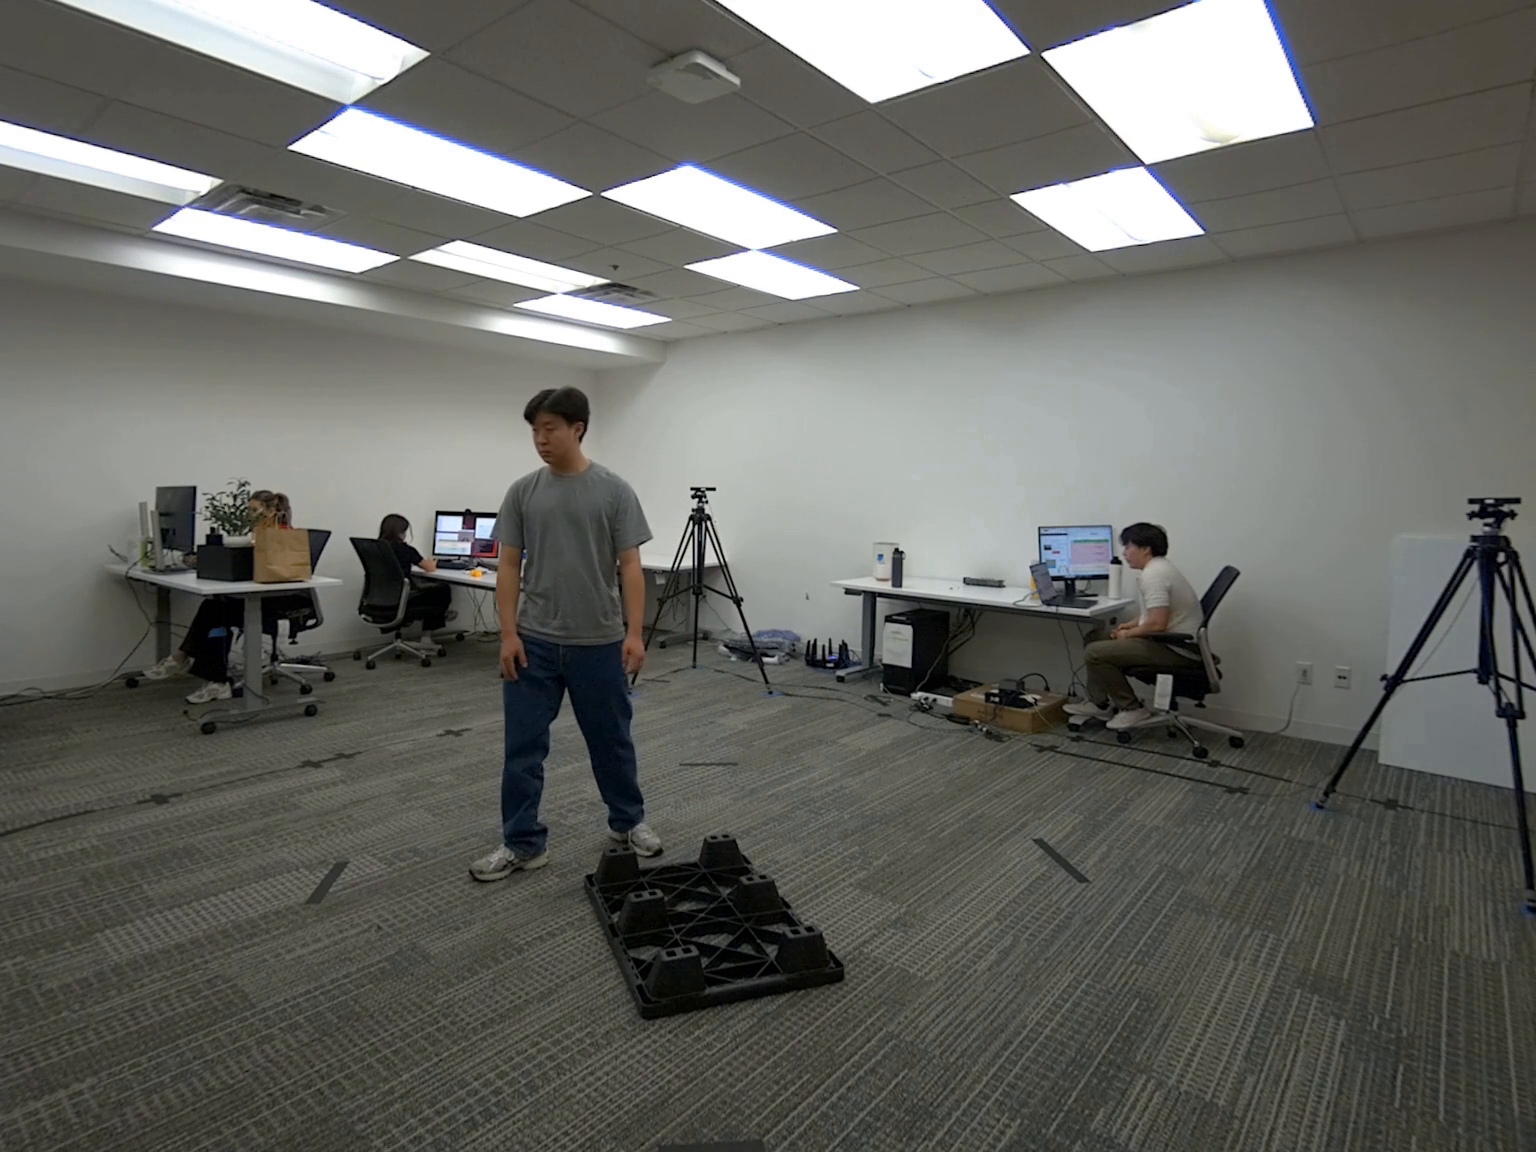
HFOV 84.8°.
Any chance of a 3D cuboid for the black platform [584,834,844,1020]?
[{"bbox_3d":[-0.211,1.039,2.679,0.592,0.143,0.827,-2,7,-23],"label":"black platform"}]
